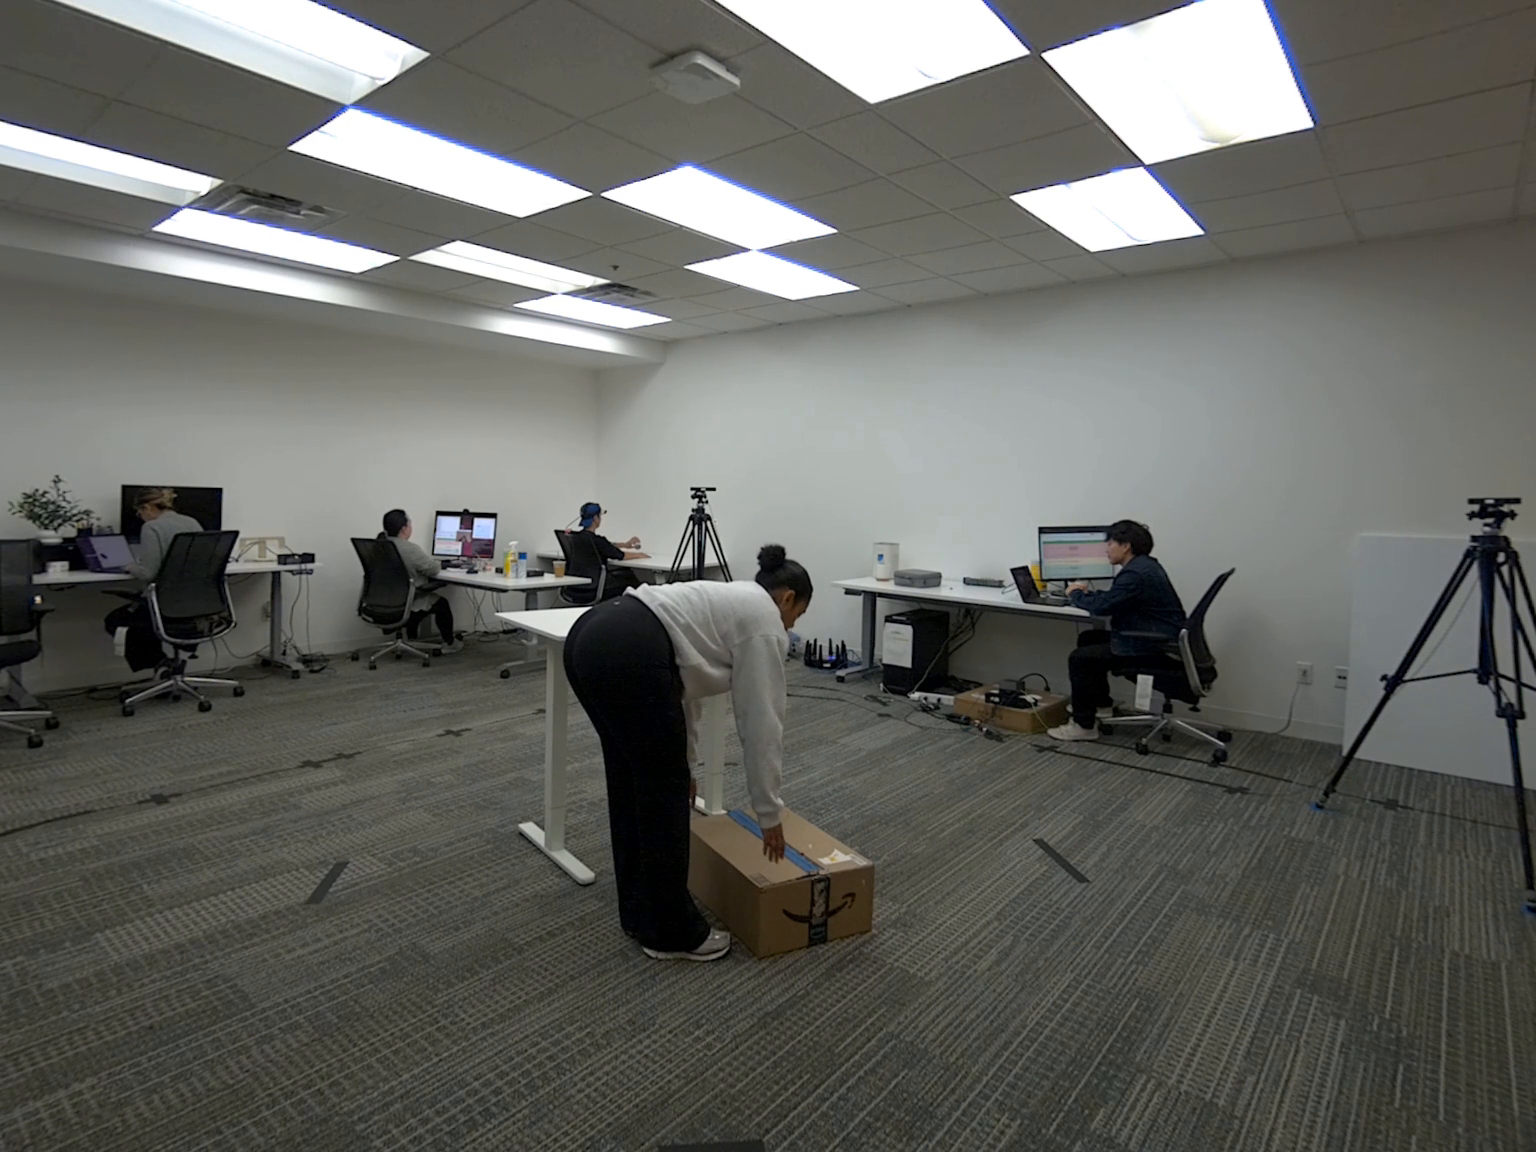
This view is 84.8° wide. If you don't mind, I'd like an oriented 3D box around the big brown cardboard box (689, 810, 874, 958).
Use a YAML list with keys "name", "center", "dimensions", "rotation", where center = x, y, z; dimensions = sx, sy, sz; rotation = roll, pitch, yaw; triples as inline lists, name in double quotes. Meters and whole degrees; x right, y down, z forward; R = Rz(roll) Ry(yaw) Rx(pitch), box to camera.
- name: "big brown cardboard box"
  center: [0.007, 0.986, 2.837]
  dimensions: [0.406, 0.232, 0.607]
  rotation: [-1, 5, -30]
